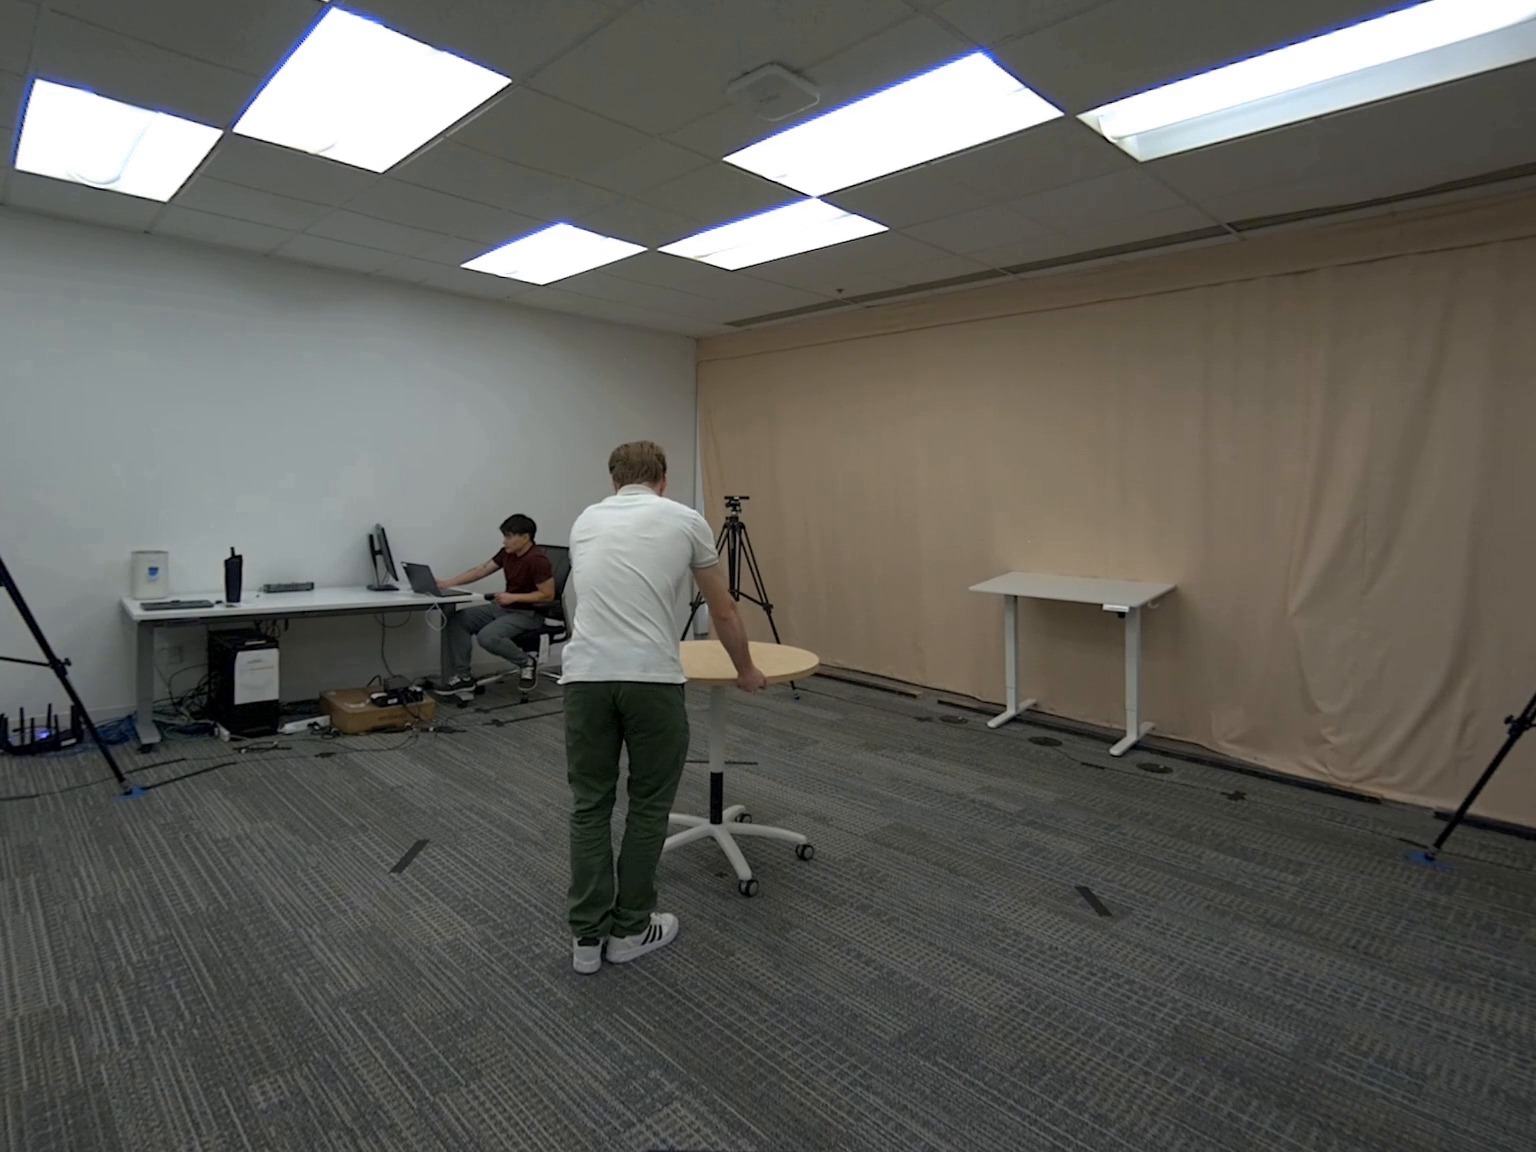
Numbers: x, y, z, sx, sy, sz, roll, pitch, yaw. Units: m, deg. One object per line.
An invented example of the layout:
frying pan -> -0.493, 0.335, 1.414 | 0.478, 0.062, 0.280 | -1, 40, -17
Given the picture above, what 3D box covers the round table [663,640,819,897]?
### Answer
round table -> -0.197, 0.698, 3.213 | 0.784, 0.784, 0.787 | 1, 4, -1
